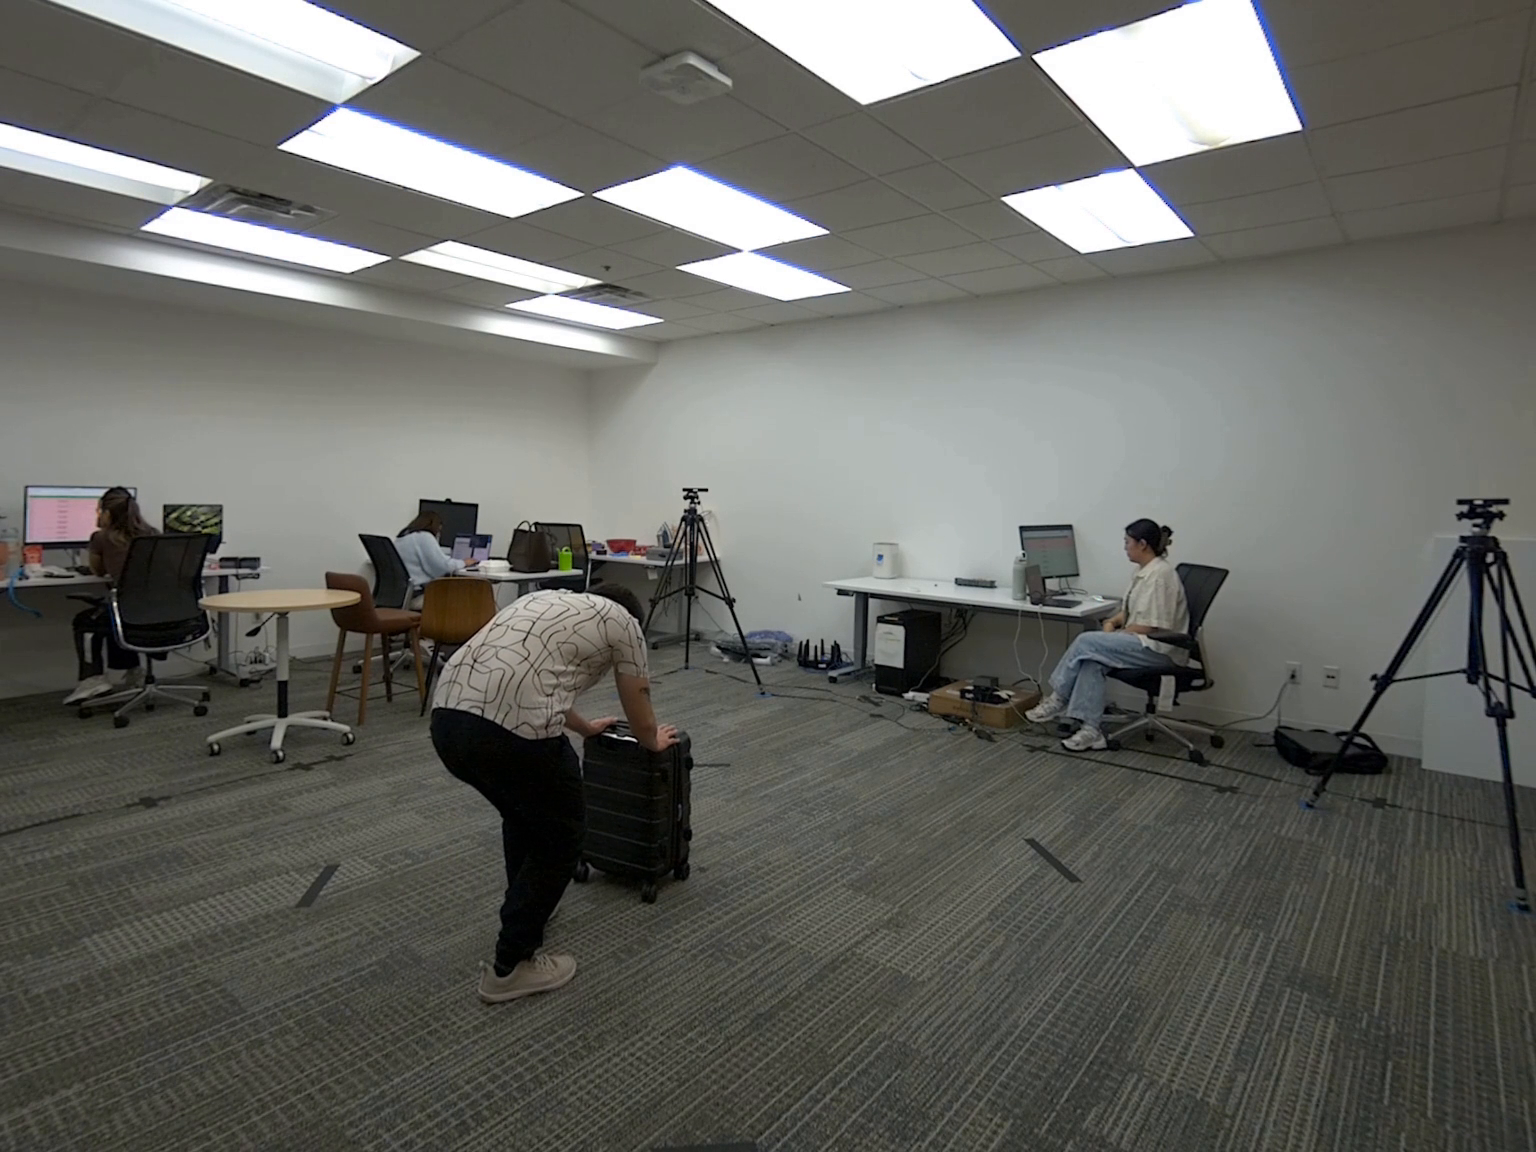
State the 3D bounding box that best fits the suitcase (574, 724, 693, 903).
[{"bbox_3d":[-0.482,0.798,3.033,0.386,0.549,0.241,2,0,29],"label":"suitcase"}]
